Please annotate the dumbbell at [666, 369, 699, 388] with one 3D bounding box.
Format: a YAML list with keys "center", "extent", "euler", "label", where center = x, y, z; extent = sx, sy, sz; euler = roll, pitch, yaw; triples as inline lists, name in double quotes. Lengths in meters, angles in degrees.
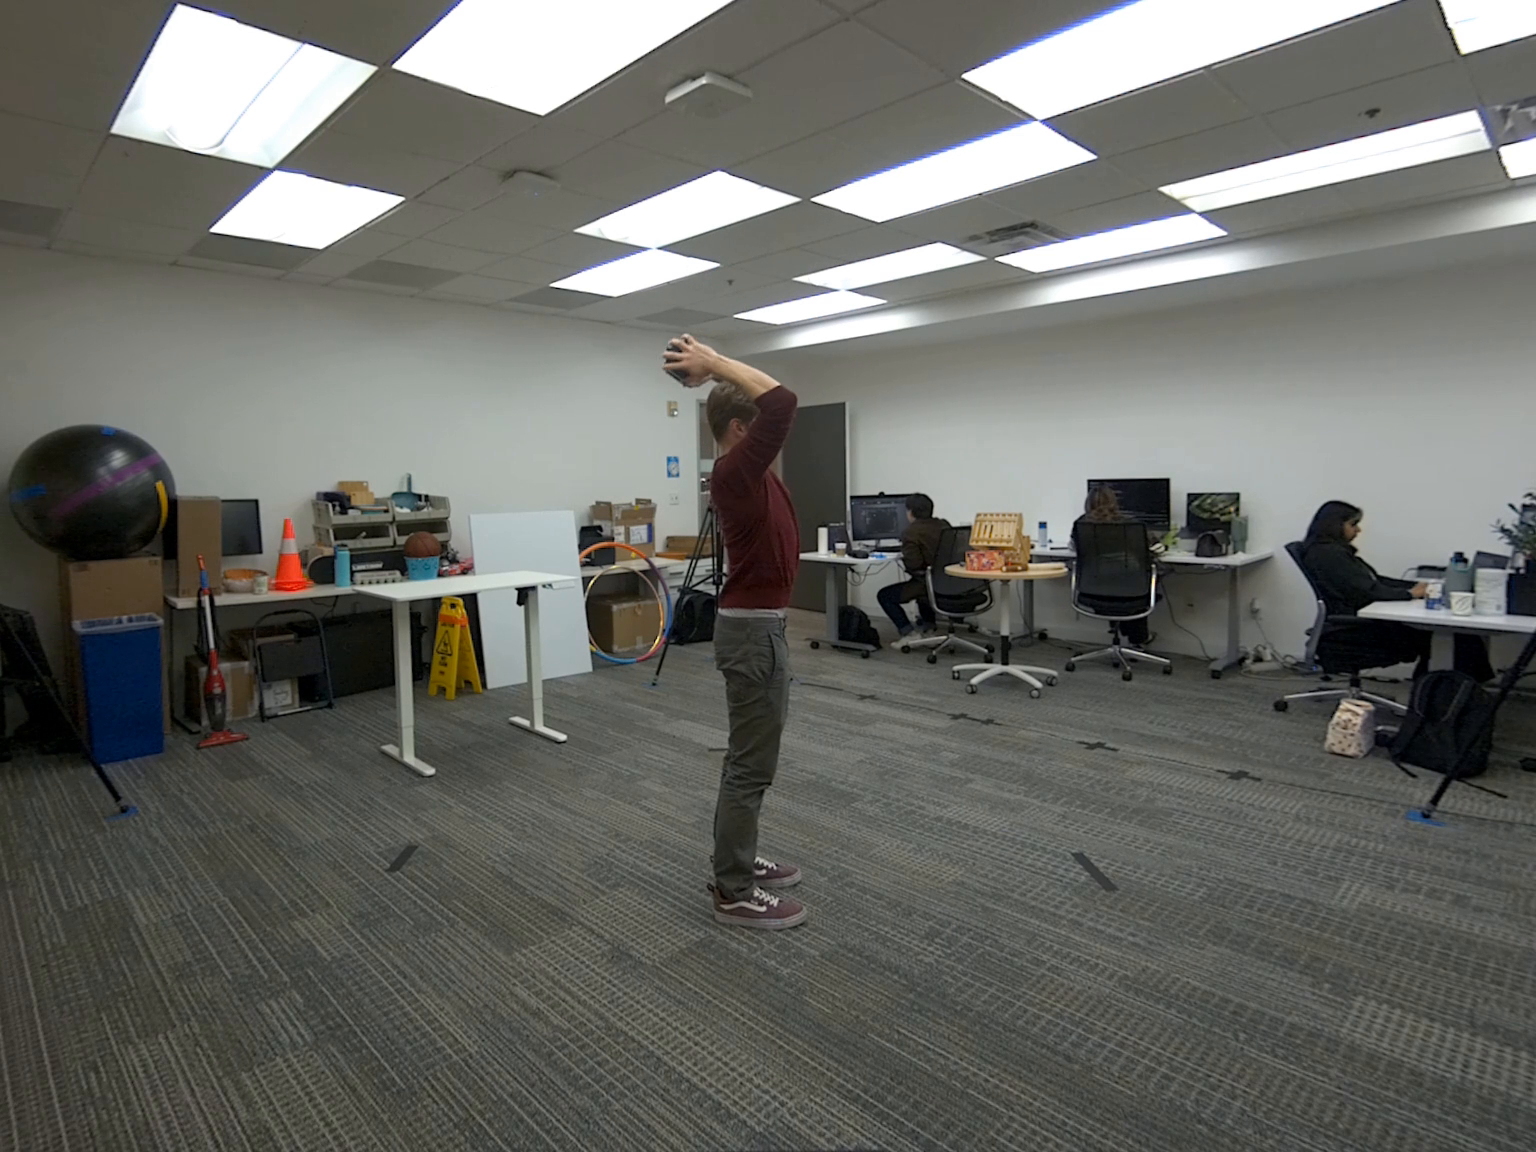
- center: [-0.232, -0.681, 2.710]
  extent: [0.123, 0.108, 0.294]
  euler: [-22, 8, 6]
  label: "dumbbell"
